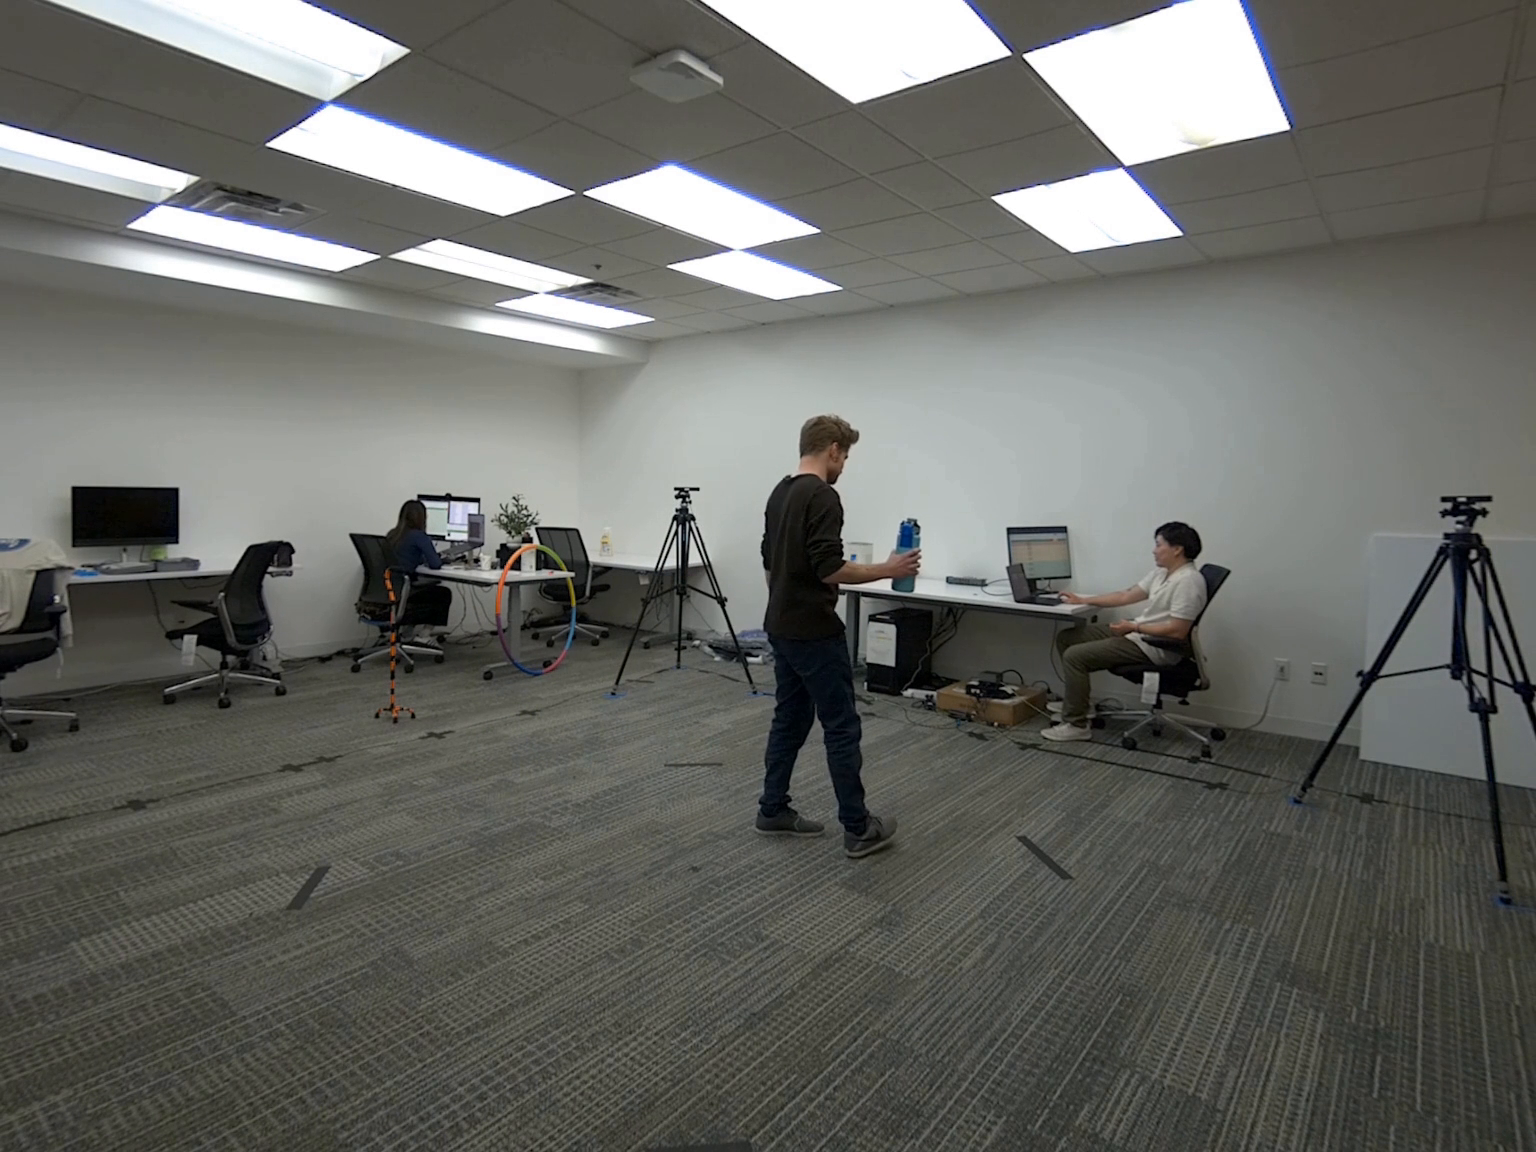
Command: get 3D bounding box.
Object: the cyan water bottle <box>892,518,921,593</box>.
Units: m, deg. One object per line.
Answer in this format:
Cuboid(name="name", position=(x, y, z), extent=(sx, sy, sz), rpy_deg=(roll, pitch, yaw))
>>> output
Cuboid(name="cyan water bottle", position=(0.529, -0.085, 3.292), extent=(0.092, 0.281, 0.093), rpy_deg=(5, 8, -3))
